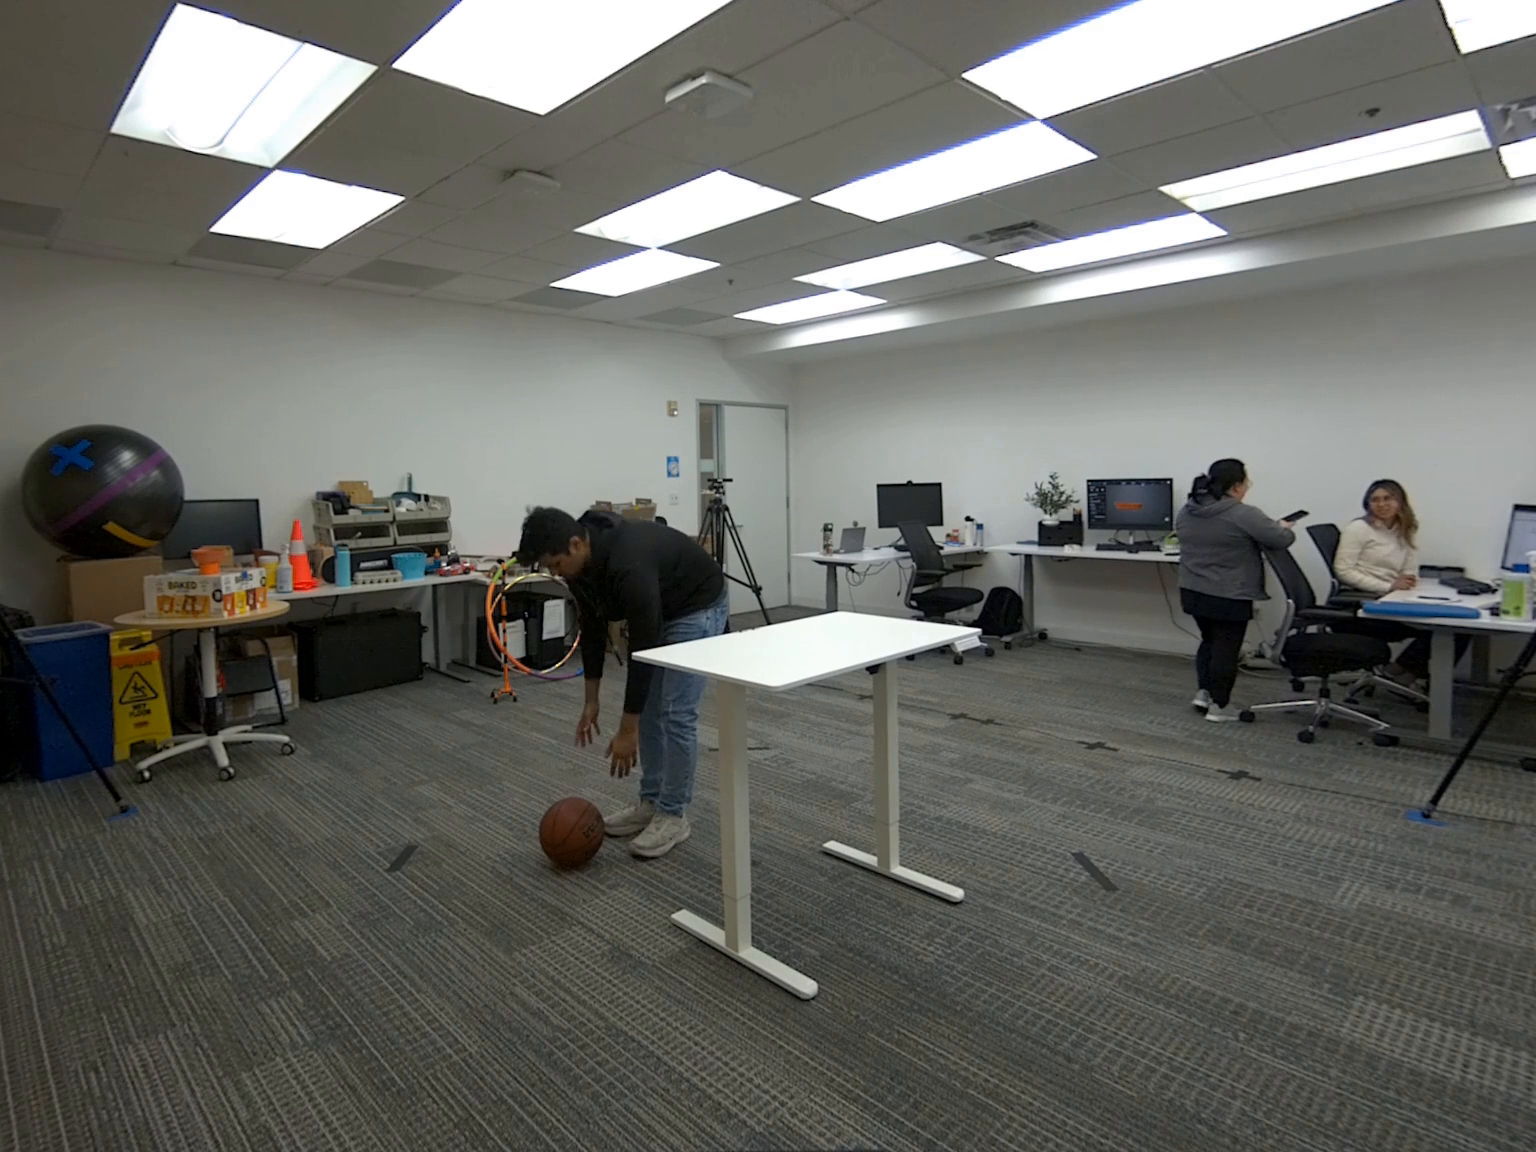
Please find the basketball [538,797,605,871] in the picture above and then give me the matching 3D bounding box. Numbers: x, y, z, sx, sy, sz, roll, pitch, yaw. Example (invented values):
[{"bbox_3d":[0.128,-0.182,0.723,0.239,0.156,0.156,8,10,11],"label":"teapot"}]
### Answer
[{"bbox_3d":[-0.723,0.936,3.131,0.236,0.235,0.237,-1,5,-2],"label":"basketball"}]
